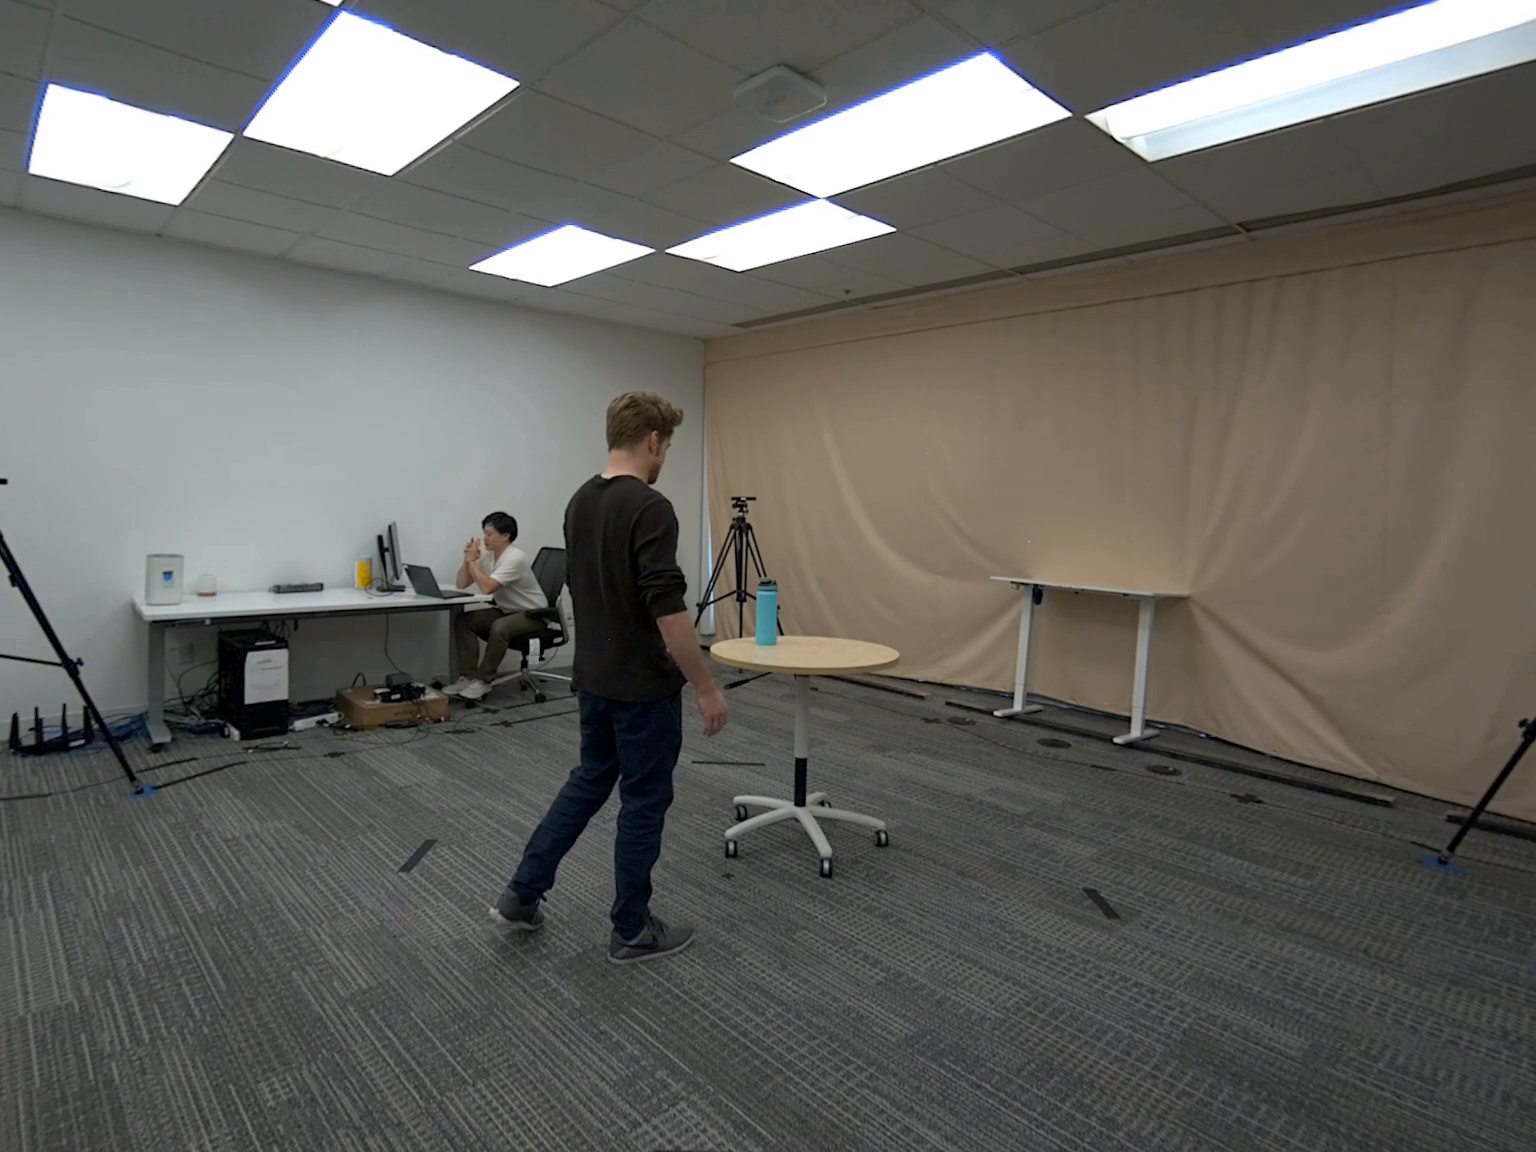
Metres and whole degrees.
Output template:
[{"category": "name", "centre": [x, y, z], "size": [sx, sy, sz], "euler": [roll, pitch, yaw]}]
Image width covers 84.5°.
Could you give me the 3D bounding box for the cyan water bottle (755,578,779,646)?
[{"category": "cyan water bottle", "centre": [-0.012, 0.149, 3.569], "size": [0.092, 0.283, 0.092], "euler": [4, 1, -1]}]
